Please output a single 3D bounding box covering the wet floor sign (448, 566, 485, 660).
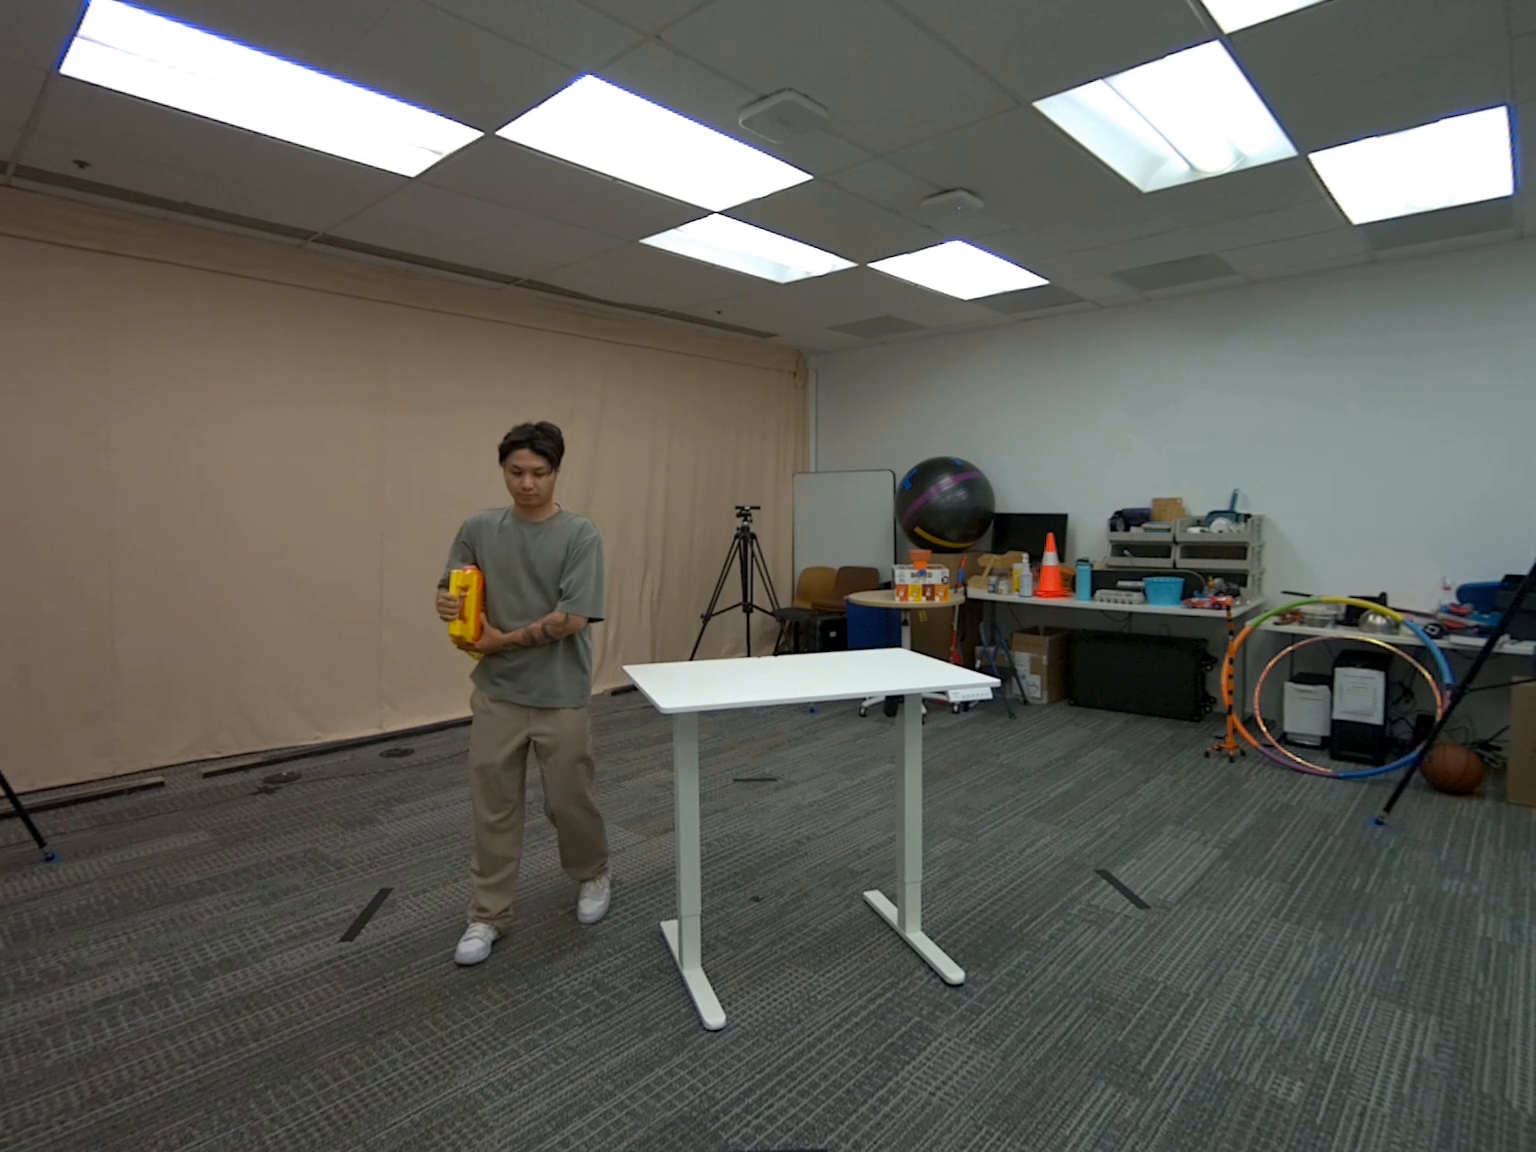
[{"bbox_3d":[-0.933,0.133,2.828,0.290,0.284,0.642,2,-8,-1],"label":"wet floor sign"}]
